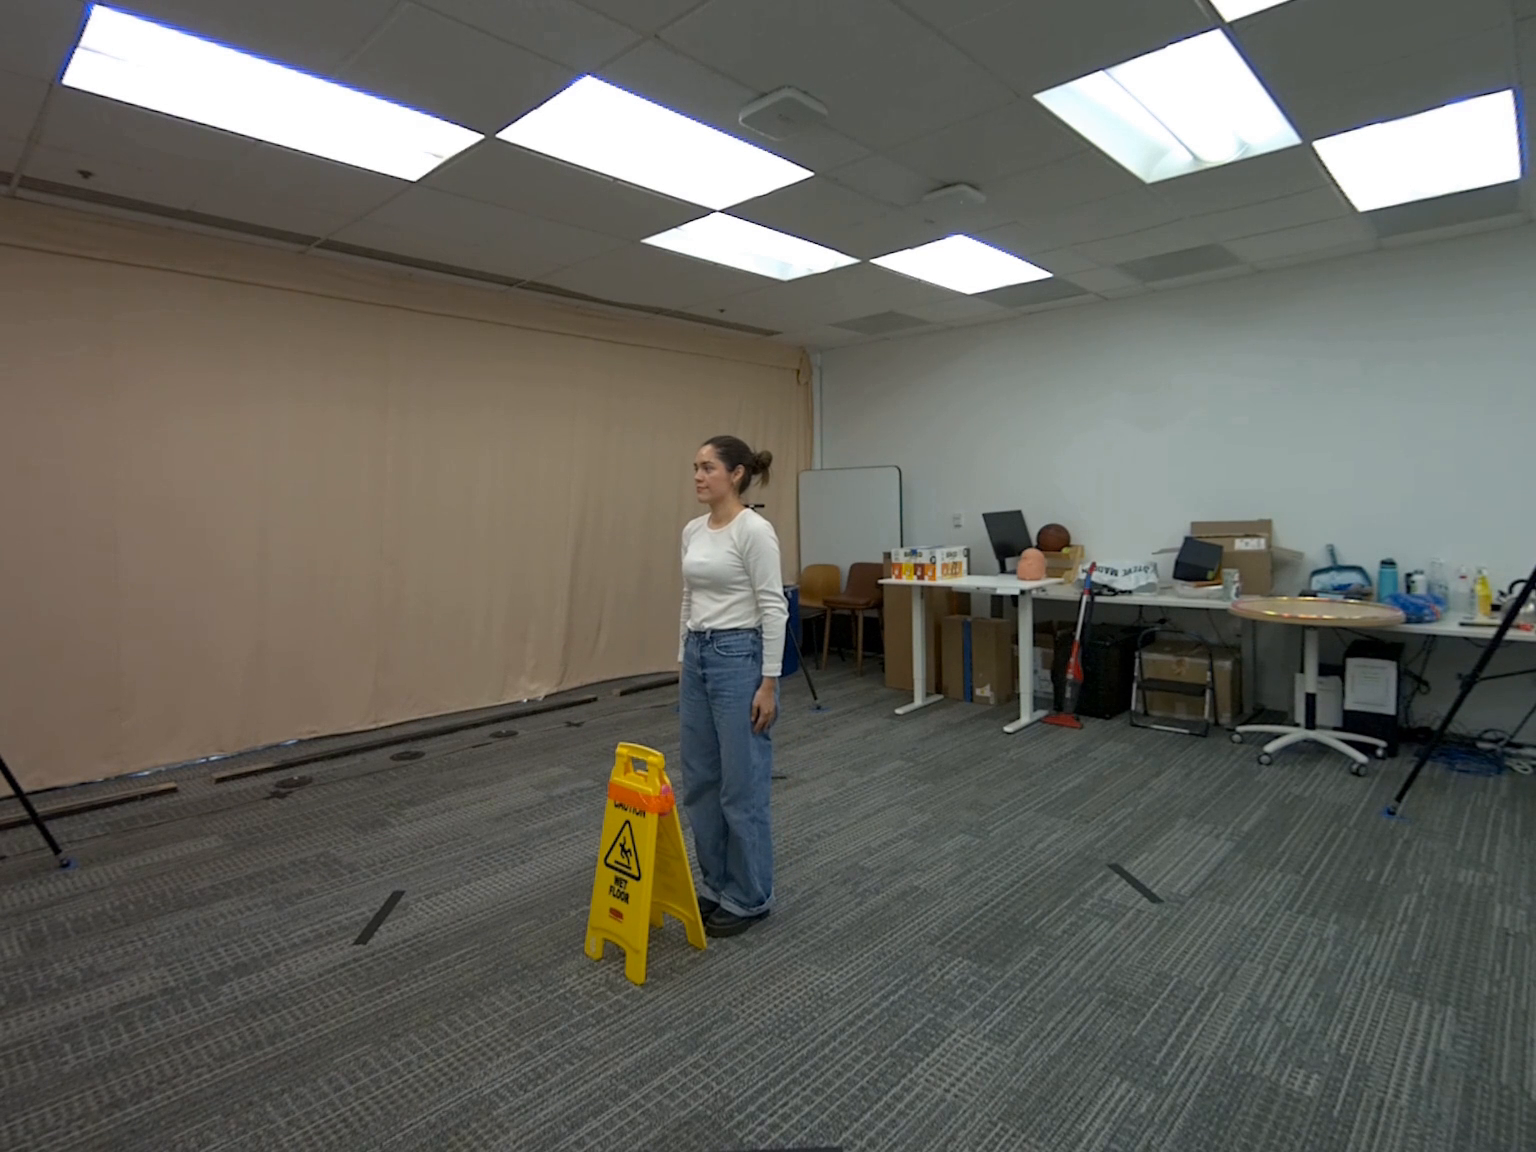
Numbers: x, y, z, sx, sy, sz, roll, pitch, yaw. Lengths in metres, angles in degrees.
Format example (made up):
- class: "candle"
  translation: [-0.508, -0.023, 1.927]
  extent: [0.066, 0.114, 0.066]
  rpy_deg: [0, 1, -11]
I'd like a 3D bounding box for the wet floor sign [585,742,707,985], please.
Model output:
- class: "wet floor sign"
  translation: [-0.387, 0.854, 2.621]
  extent: [0.291, 0.645, 0.281]
  rpy_deg: [0, 4, 43]
